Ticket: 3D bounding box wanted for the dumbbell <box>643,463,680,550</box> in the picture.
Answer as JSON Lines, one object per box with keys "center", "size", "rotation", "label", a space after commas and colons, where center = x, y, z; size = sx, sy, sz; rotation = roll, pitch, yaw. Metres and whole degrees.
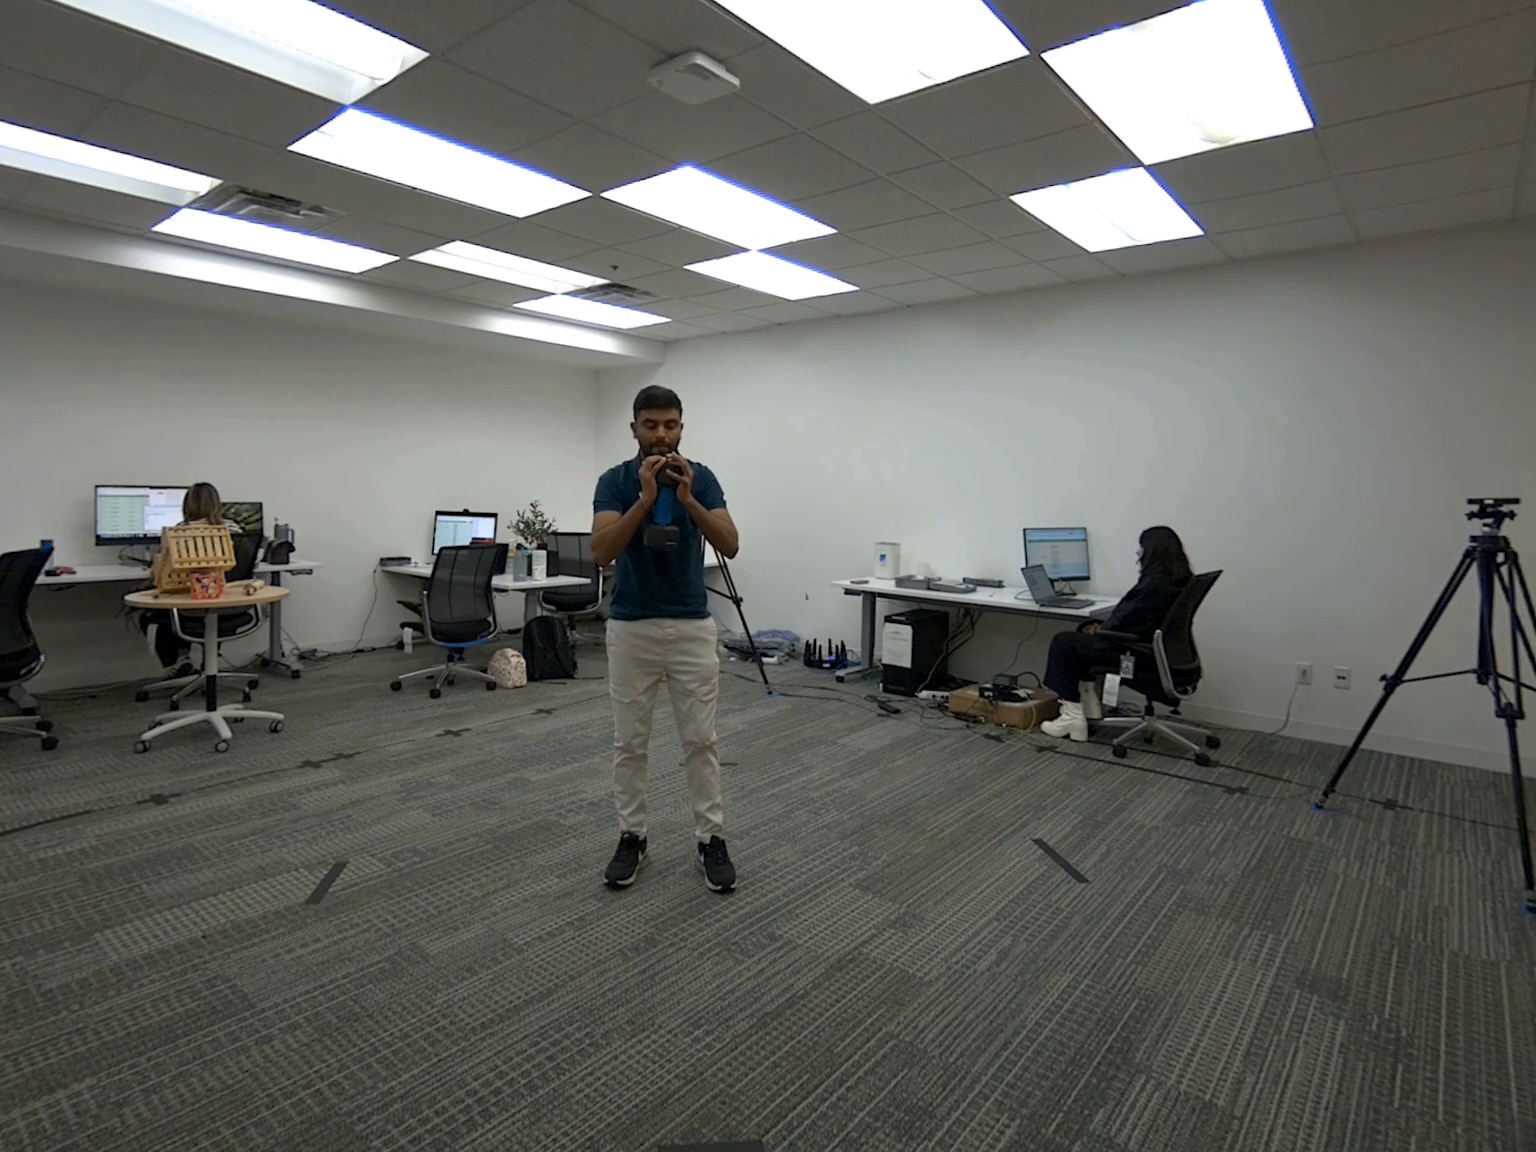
{"center": [-0.357, -0.233, 2.823], "size": [0.108, 0.292, 0.125], "rotation": [2, 6, -9], "label": "dumbbell"}
